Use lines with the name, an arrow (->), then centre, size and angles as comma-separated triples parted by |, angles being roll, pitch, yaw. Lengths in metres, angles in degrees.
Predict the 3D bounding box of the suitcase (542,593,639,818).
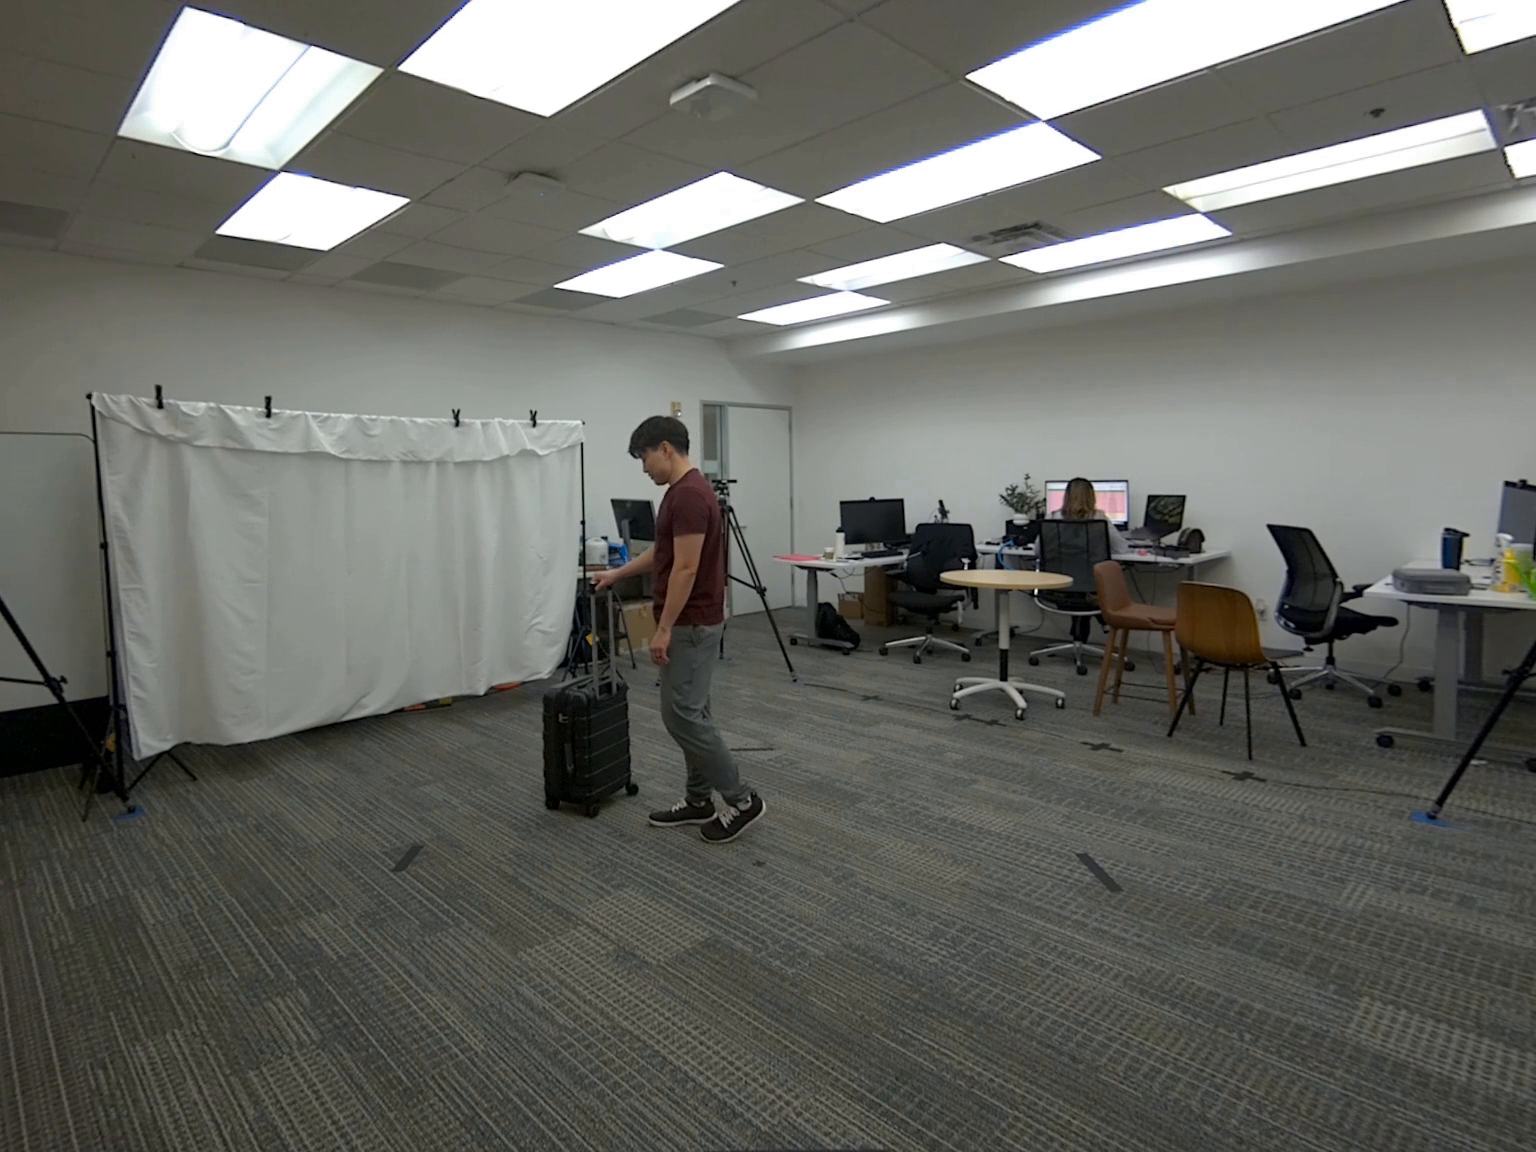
suitcase -> -0.802, 0.520, 3.723 | 0.263, 0.975, 0.377 | -1, 5, 26
